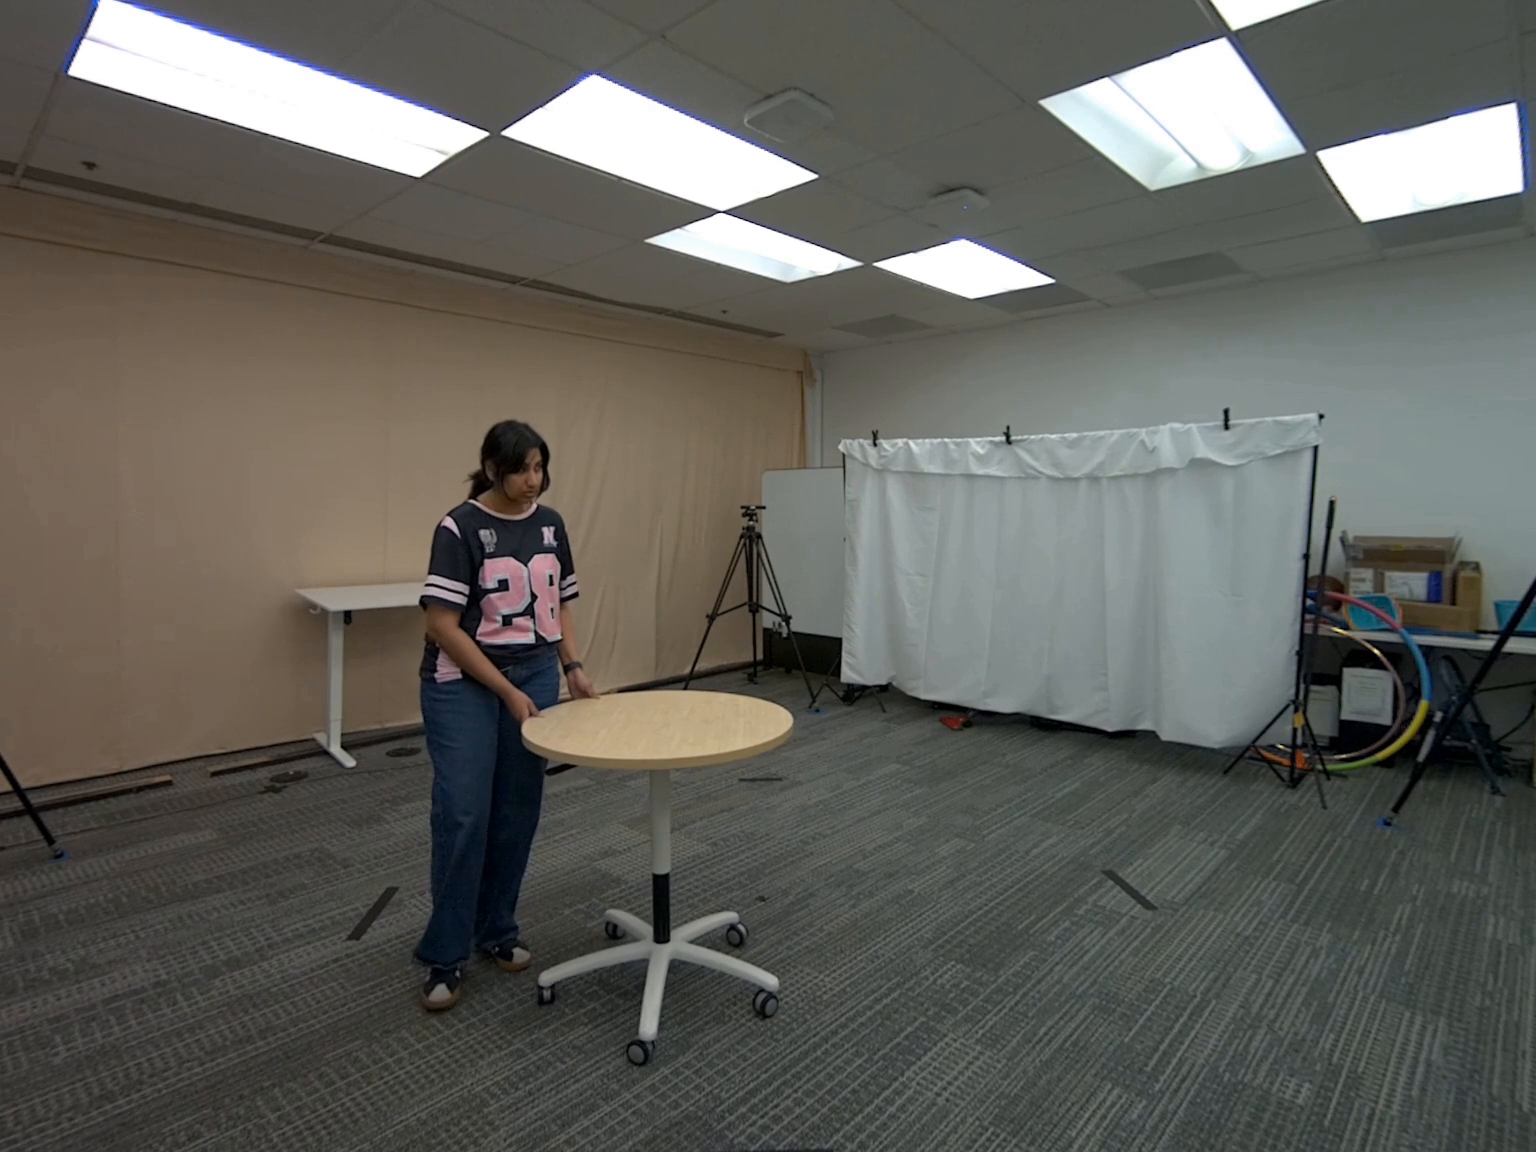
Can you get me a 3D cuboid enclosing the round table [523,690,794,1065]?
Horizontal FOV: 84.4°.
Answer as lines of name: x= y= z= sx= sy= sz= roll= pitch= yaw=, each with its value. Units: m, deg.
round table: x=-0.290 y=0.802 z=2.407 sx=0.784 sy=0.785 sz=0.788 roll=-1 pitch=4 yaw=-2
